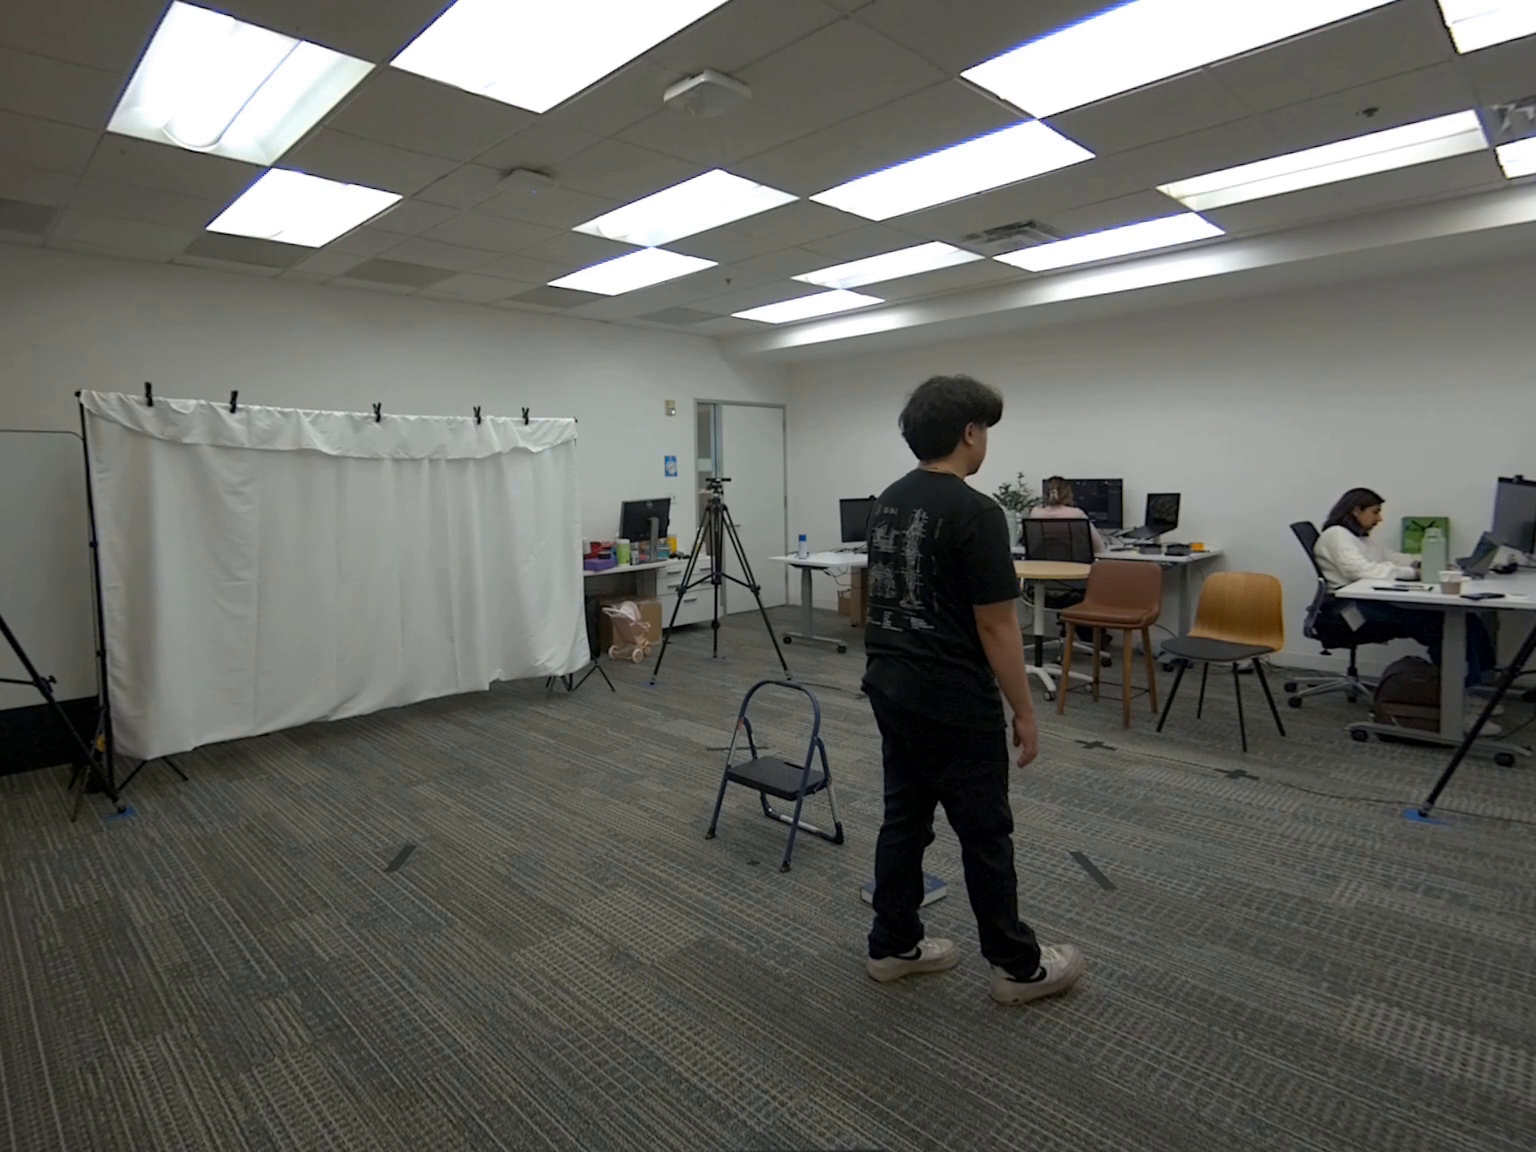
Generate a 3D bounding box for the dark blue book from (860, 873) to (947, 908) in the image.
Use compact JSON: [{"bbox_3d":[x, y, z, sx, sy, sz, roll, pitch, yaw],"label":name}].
[{"bbox_3d":[0.461,1.048,2.821,0.239,0.045,0.168,-6,8,-36],"label":"dark blue book"}]
